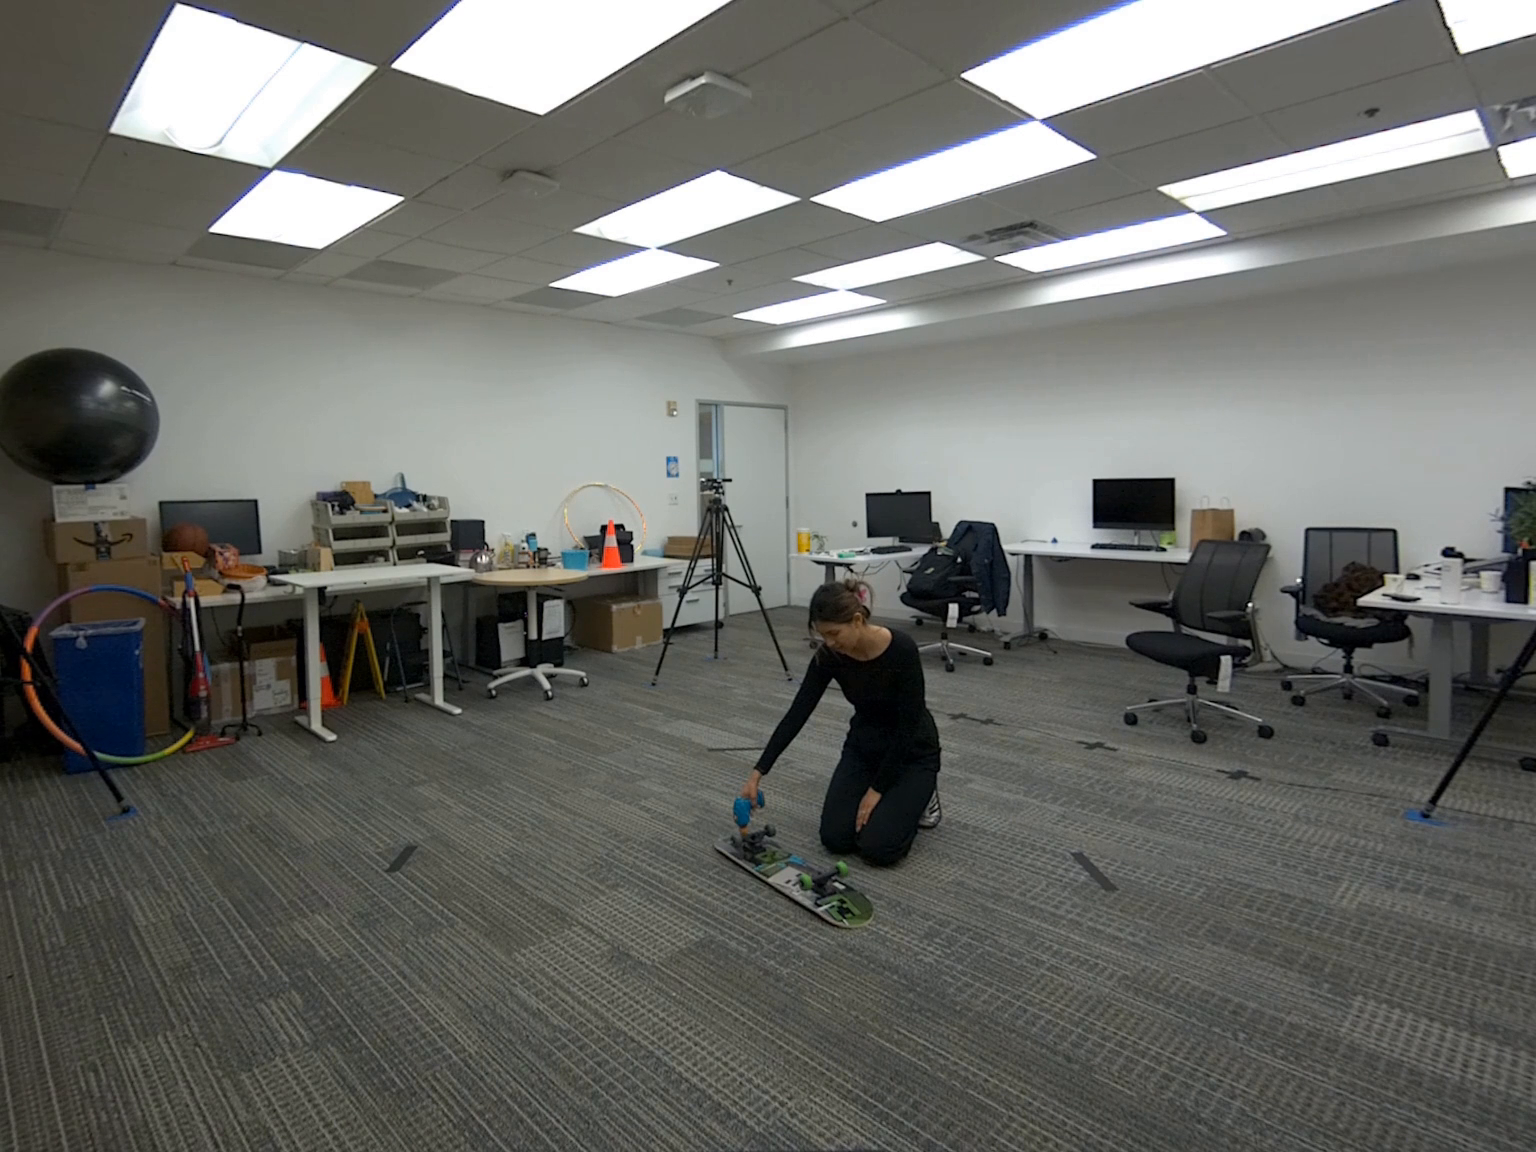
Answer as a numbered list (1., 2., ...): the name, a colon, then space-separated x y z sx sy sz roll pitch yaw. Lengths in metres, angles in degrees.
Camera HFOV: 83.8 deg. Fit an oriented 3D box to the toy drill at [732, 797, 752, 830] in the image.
1. toy drill: -0.074 0.898 3.196 0.062 0.169 0.143 -8 5 35
